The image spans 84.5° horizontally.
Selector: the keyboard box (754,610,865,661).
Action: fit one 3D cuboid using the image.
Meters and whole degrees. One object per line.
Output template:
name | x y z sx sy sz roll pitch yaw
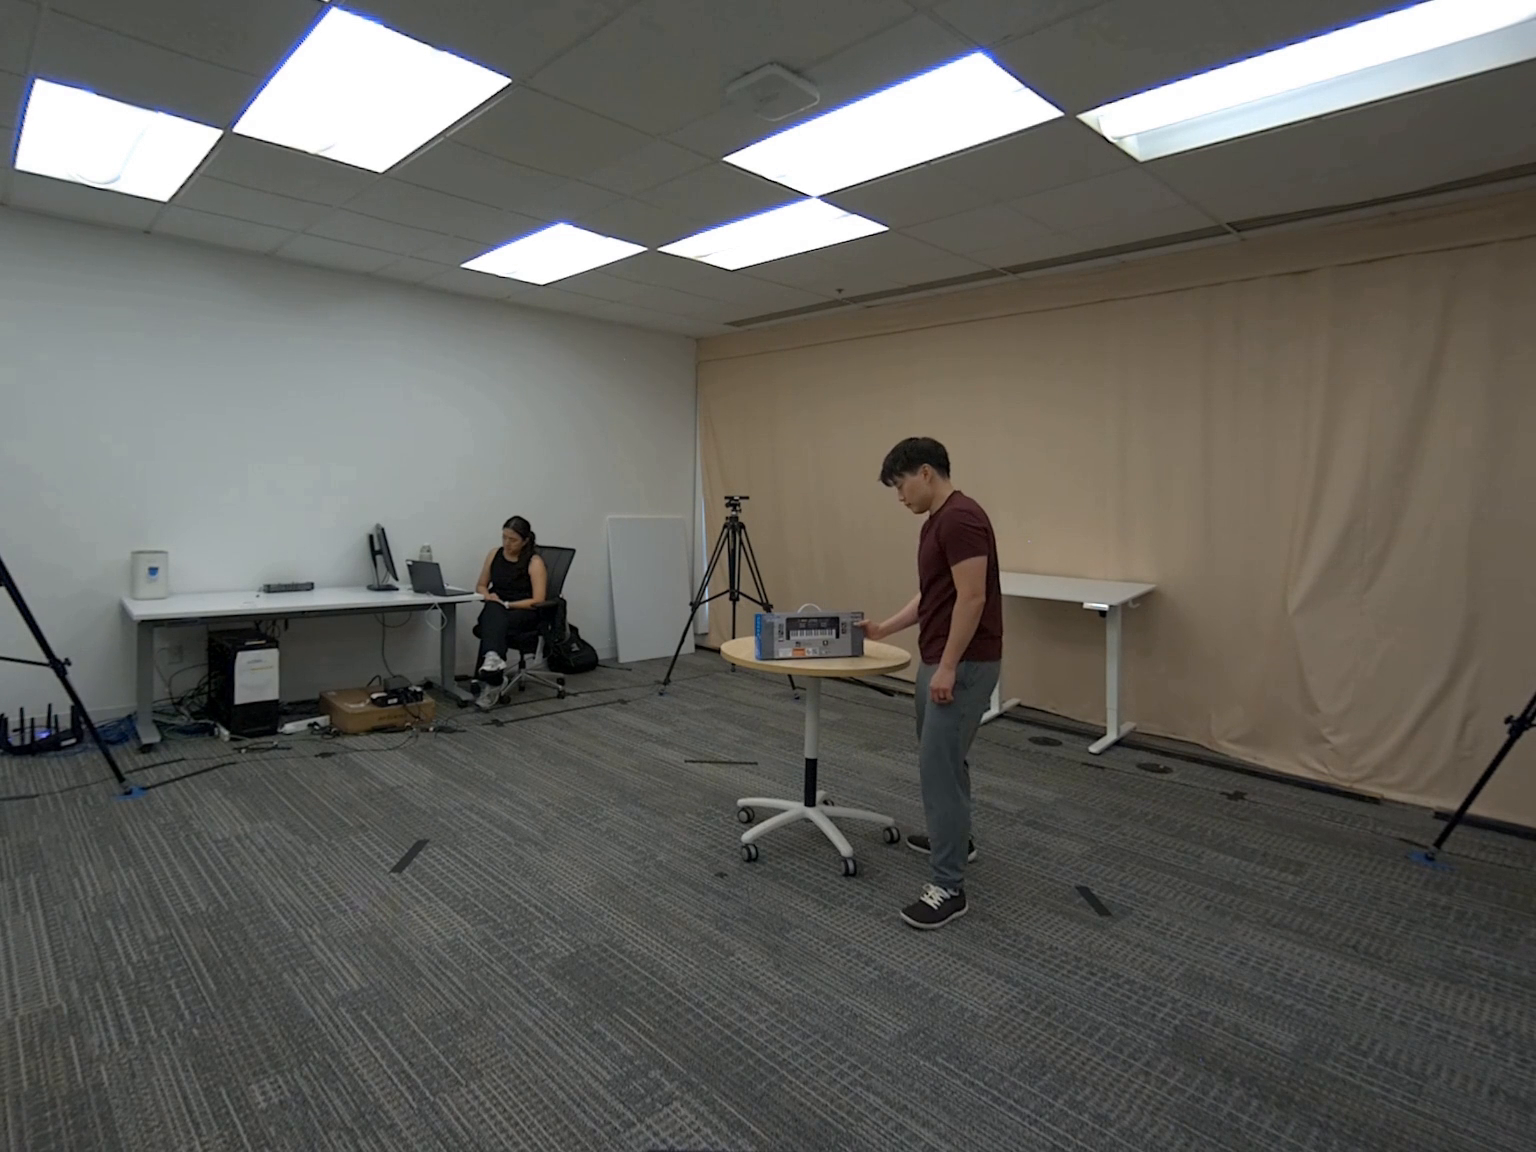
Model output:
keyboard box | 0.153 0.228 3.251 0.431 0.176 0.060 0 -4 -17
